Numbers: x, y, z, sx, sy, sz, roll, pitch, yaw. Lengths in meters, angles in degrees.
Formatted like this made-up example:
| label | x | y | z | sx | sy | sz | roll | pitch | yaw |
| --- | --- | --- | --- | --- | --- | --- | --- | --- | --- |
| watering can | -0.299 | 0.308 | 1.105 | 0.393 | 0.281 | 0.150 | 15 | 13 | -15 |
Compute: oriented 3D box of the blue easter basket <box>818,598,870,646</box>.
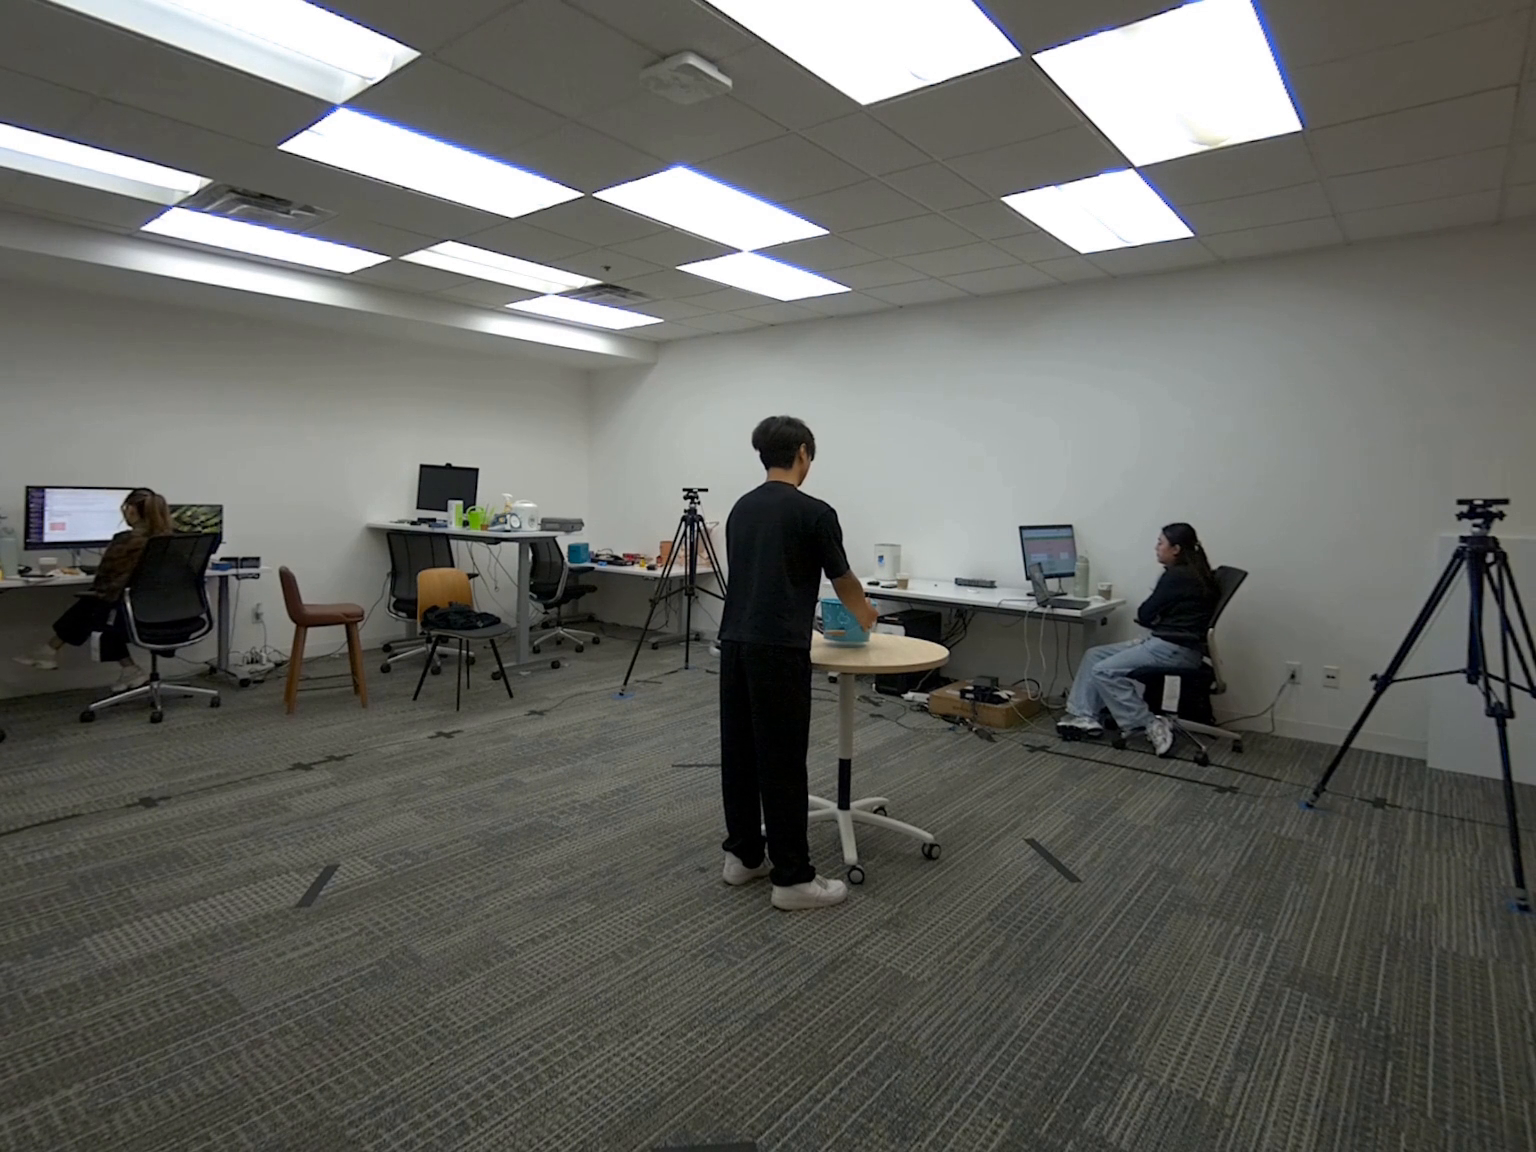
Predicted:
| label | x | y | z | sx | sy | sz | roll | pitch | yaw |
| --- | --- | --- | --- | --- | --- | --- | --- | --- | --- |
| blue easter basket | 0.307 | 0.172 | 3.385 | 0.243 | 0.156 | 0.244 | 1 | 2 | -2 |
